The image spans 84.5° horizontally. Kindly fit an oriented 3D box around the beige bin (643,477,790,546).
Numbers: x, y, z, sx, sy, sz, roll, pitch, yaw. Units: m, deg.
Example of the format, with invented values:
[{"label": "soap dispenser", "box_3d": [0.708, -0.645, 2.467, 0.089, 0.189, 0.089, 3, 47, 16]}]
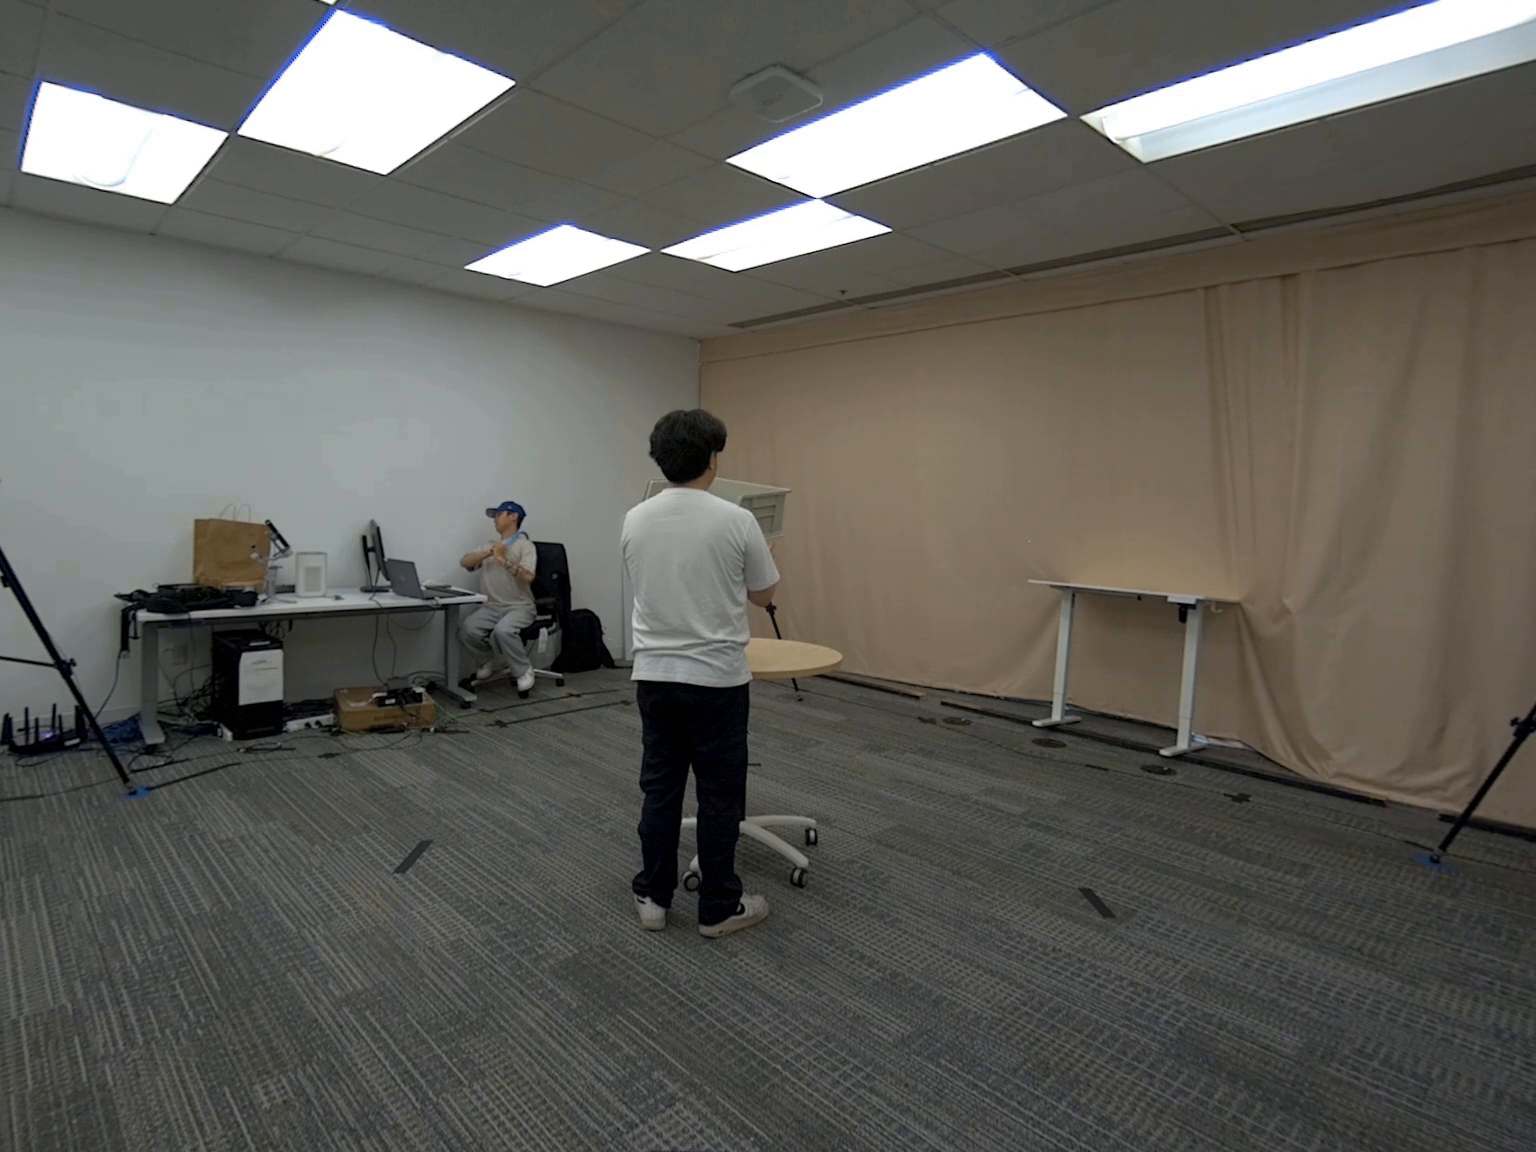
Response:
[{"label": "beige bin", "box_3d": [-0.198, -0.247, 3.150, 0.433, 0.187, 0.370, 13, 13, 31]}]
